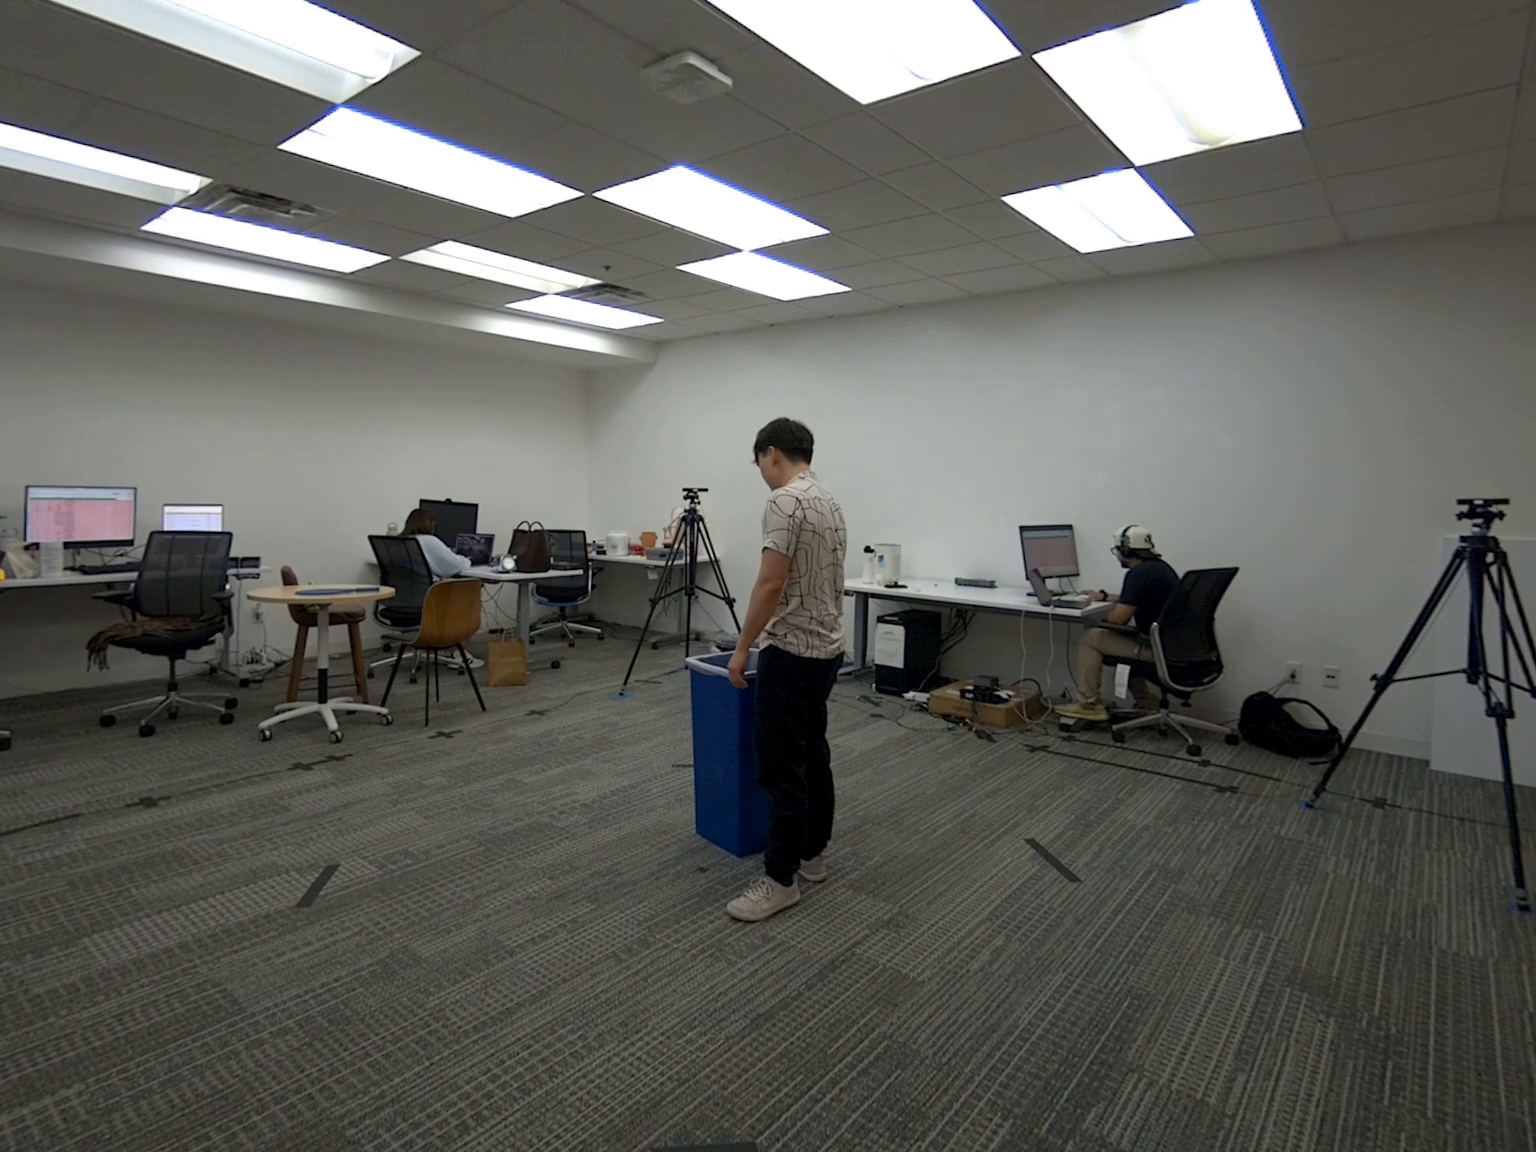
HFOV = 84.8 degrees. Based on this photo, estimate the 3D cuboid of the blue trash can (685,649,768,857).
[{"bbox_3d":[-0.102,0.685,3.390,0.363,0.711,0.390,-2,4,-38],"label":"blue trash can"}]
